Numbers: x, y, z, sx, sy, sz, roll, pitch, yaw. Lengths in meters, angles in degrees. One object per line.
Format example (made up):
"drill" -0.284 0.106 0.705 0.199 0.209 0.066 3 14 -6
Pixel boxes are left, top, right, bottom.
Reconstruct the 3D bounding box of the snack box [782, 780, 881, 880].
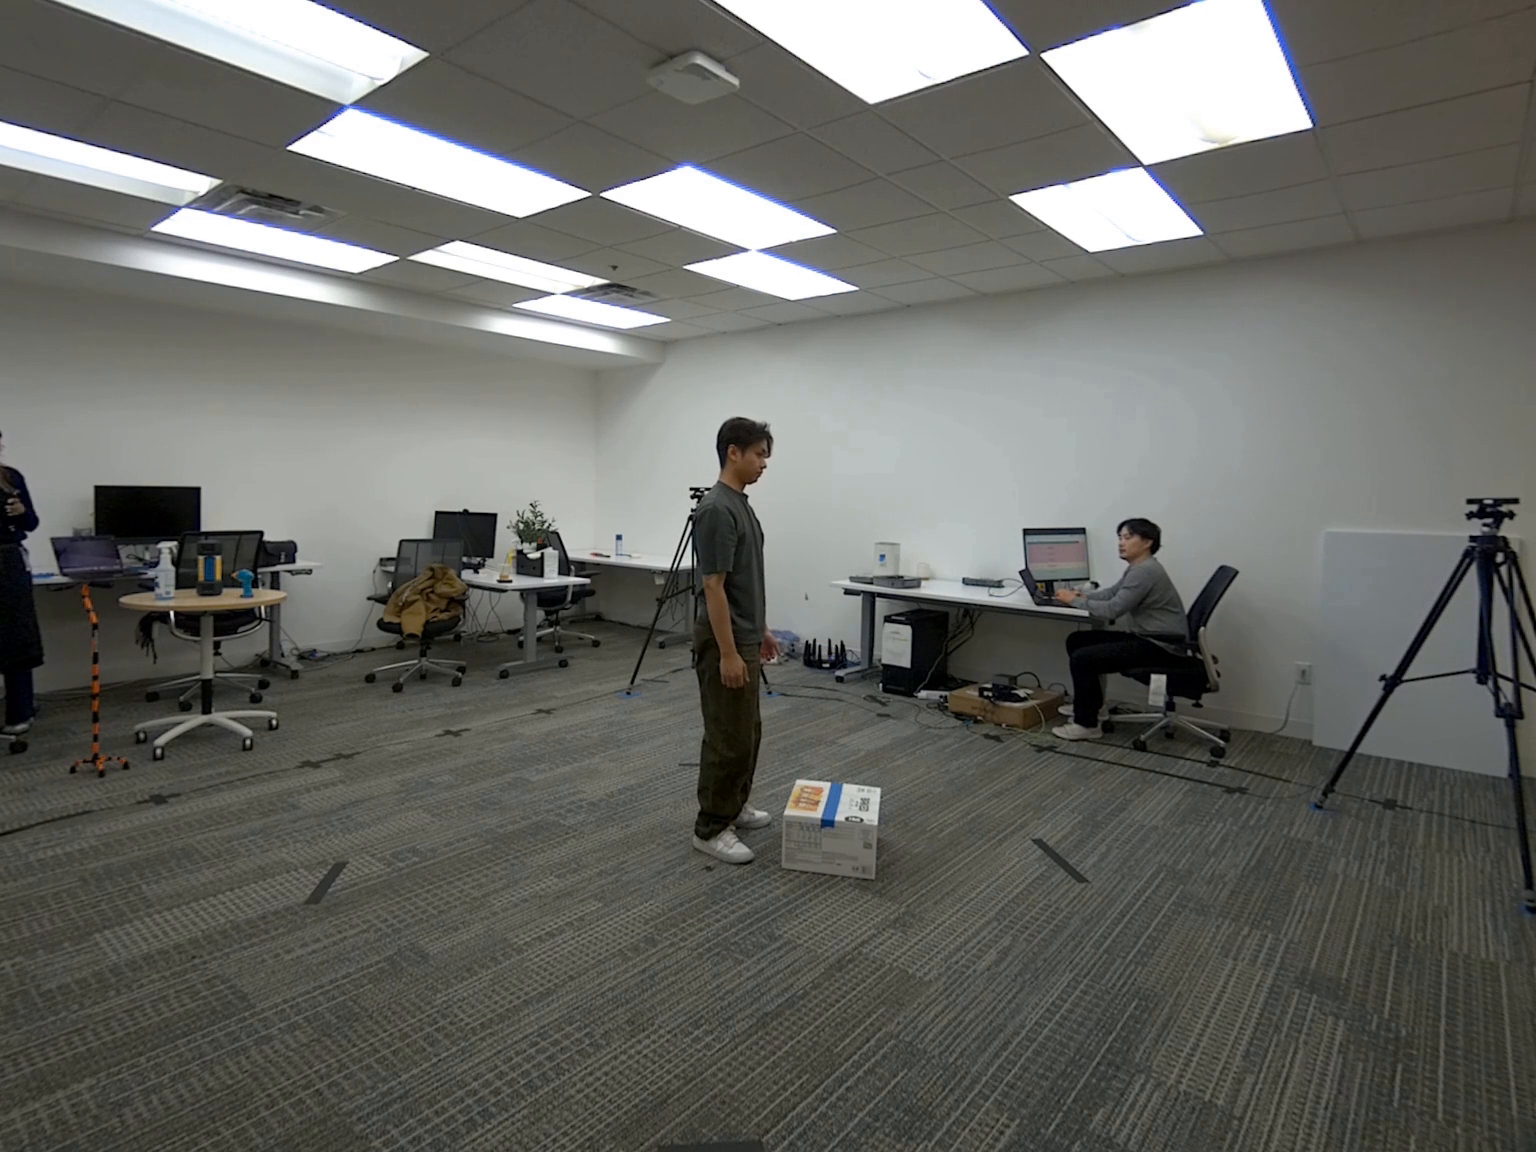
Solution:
"snack box" 0.247 0.962 3.270 0.345 0.205 0.401 2 5 11
